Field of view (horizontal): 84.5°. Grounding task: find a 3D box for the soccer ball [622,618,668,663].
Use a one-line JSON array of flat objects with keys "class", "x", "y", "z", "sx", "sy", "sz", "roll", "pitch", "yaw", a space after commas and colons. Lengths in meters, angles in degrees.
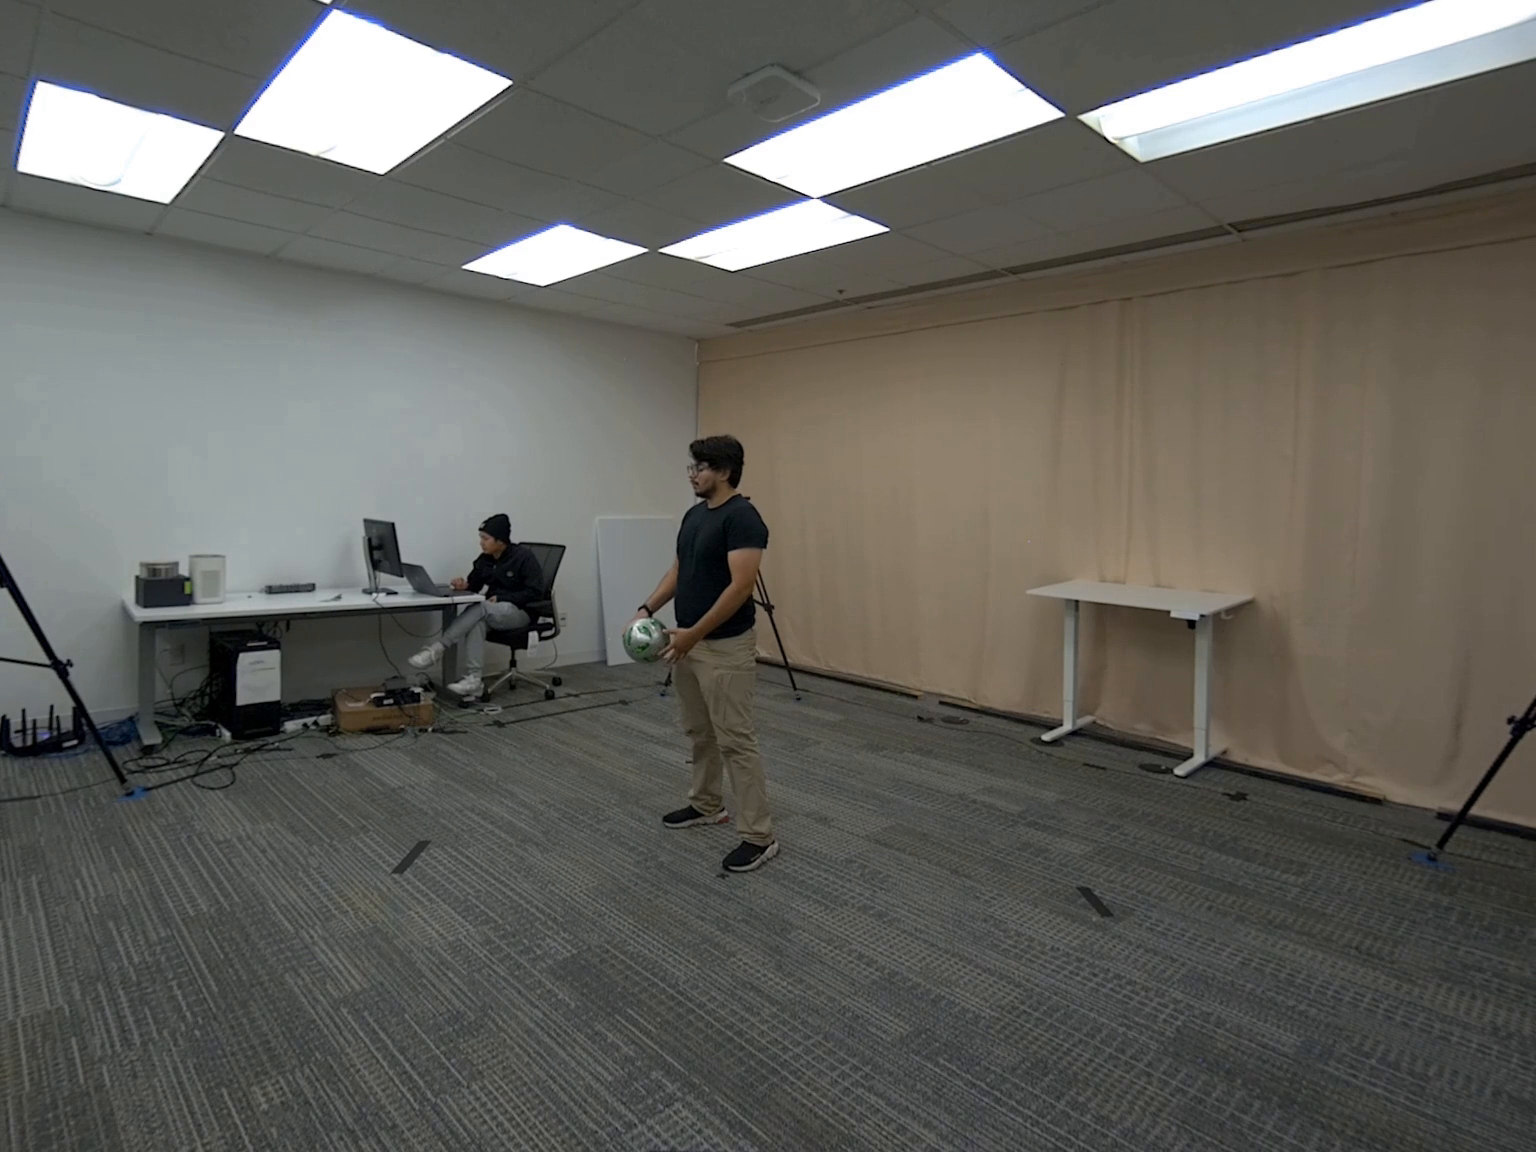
[{"class": "soccer ball", "x": -0.486, "y": 0.252, "z": 3.351, "sx": 0.187, "sy": 0.187, "sz": 0.188, "roll": 1, "pitch": 4, "yaw": -1}]
